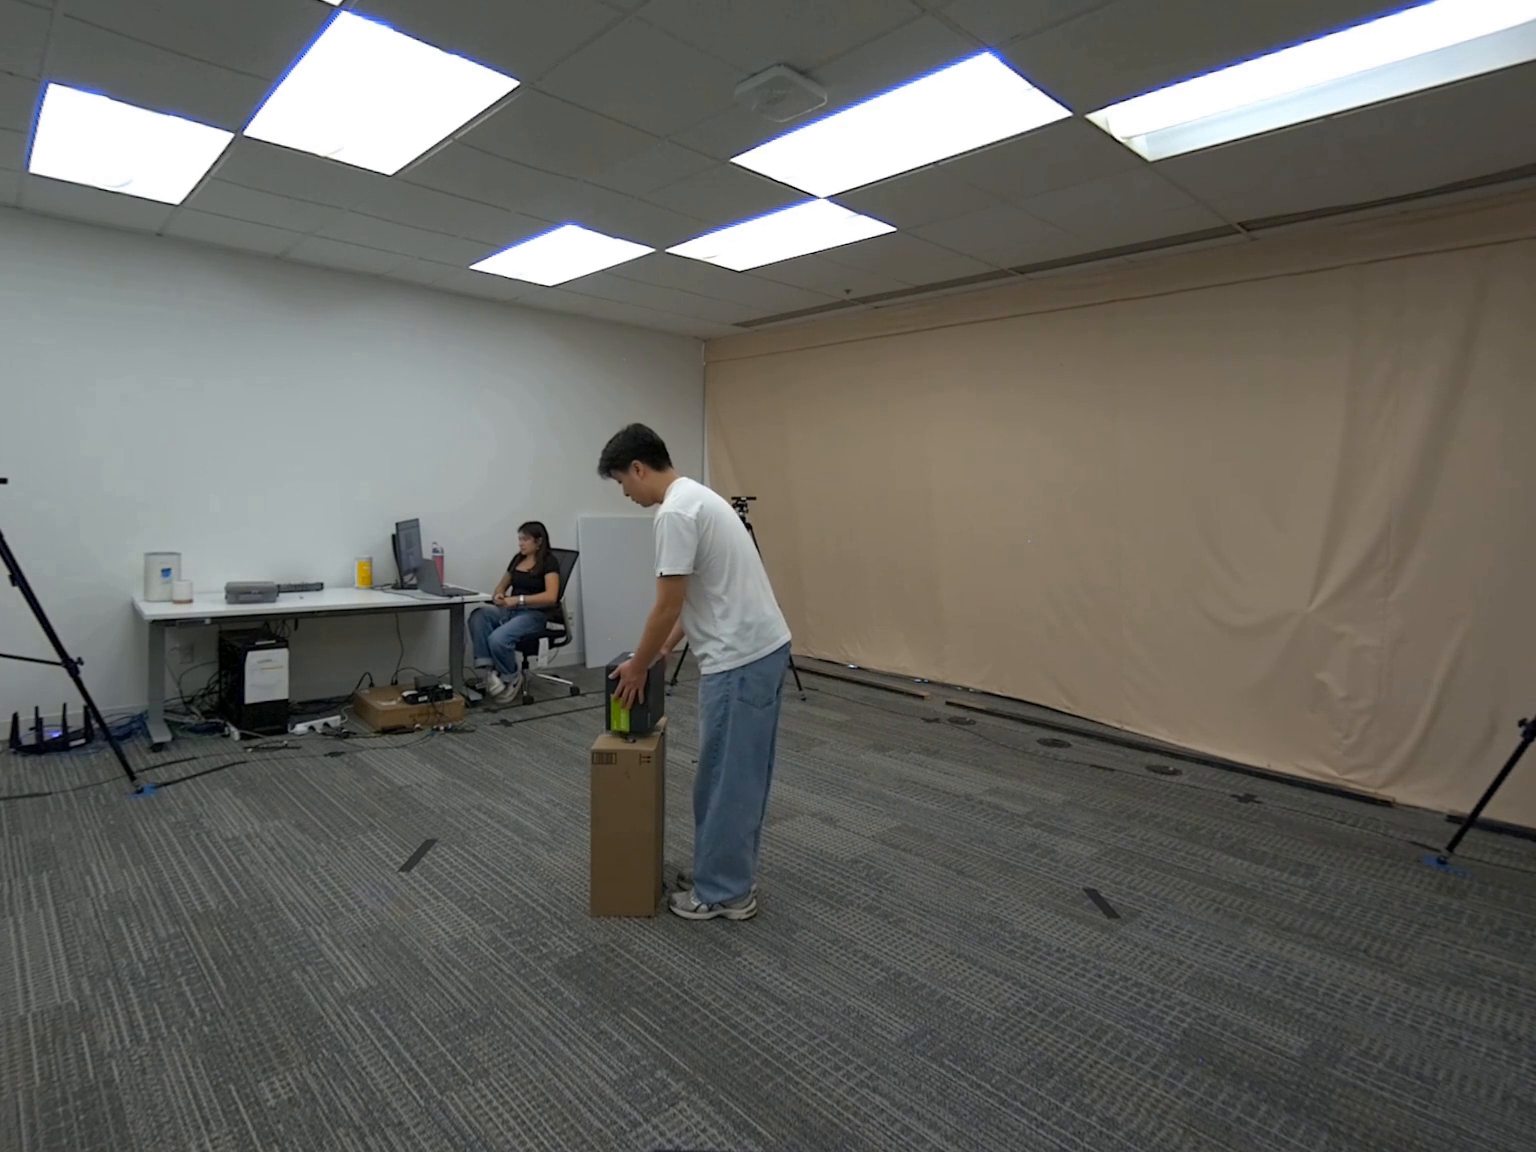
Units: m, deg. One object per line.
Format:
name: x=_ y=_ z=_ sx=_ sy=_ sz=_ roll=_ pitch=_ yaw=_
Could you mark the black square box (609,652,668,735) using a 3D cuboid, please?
black square box: x=-0.452 y=0.404 z=2.959 sx=0.157 sy=0.227 sz=0.217 roll=1 pitch=6 yaw=6
